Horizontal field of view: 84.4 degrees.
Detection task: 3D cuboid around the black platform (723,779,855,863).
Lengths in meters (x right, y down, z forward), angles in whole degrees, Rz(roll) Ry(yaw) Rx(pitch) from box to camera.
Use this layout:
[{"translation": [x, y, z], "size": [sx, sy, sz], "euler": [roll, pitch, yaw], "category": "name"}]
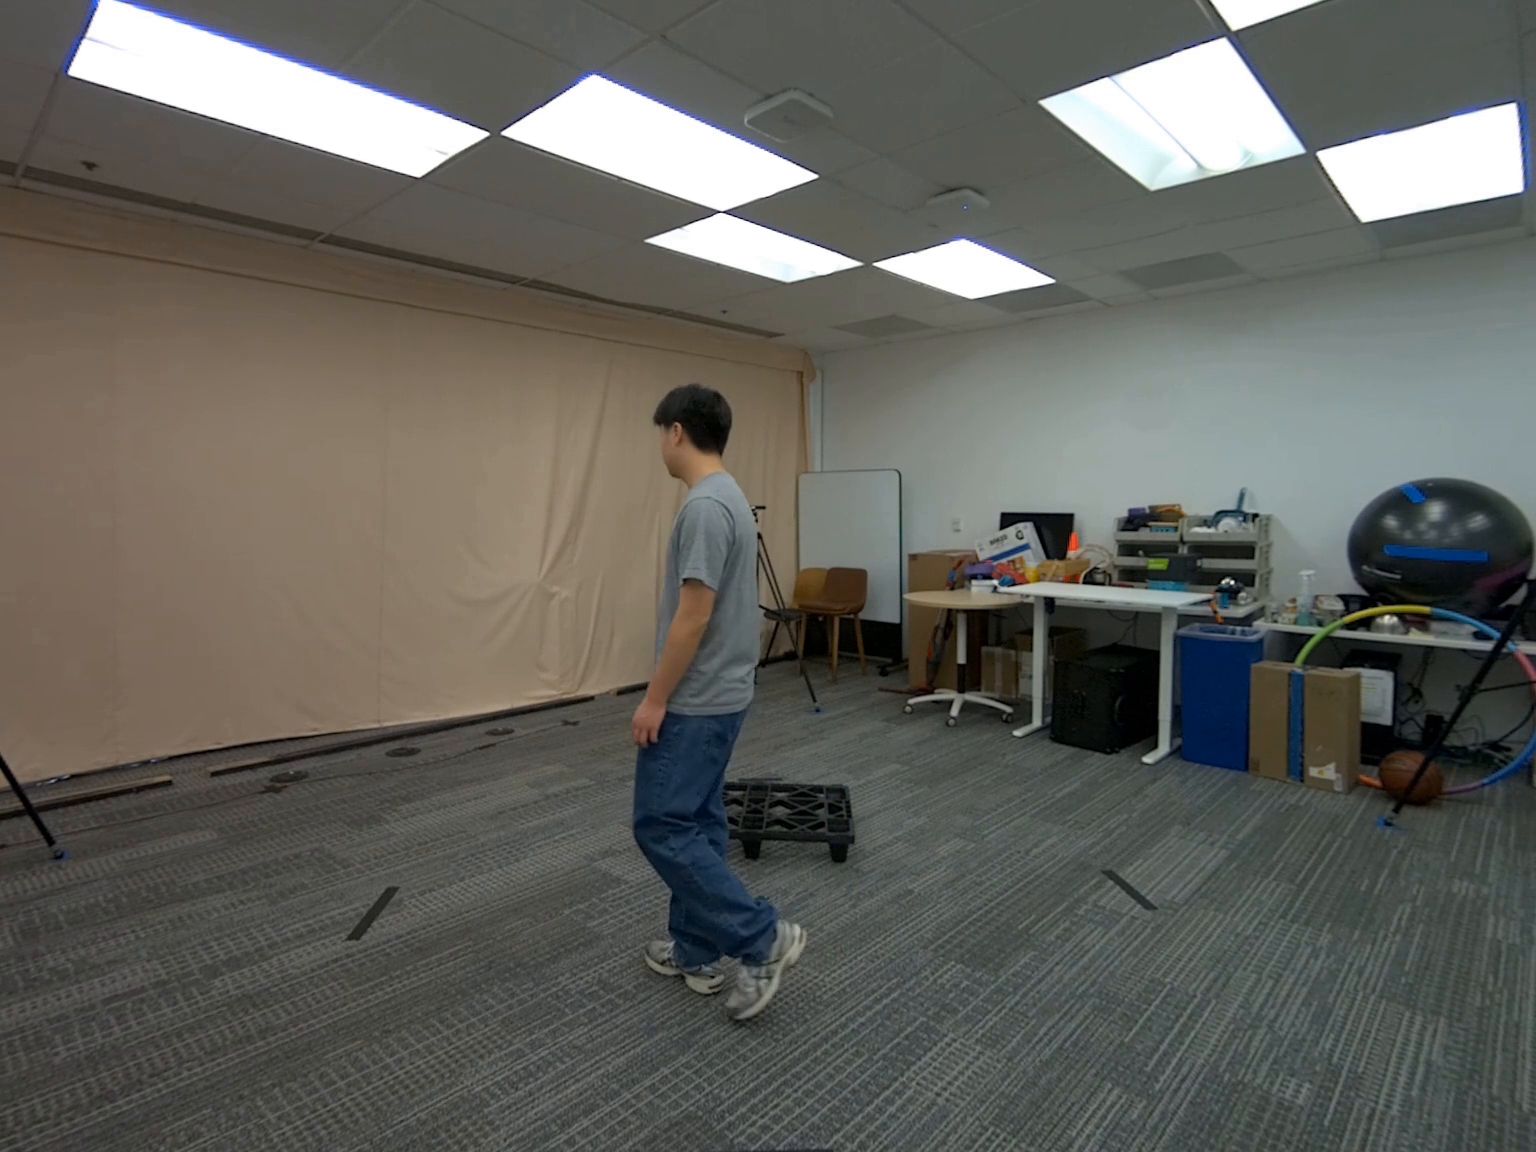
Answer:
[{"translation": [-0.045, 1.027, 3.539], "size": [0.811, 0.143, 0.603], "euler": [0, 5, 5], "category": "black platform"}]
